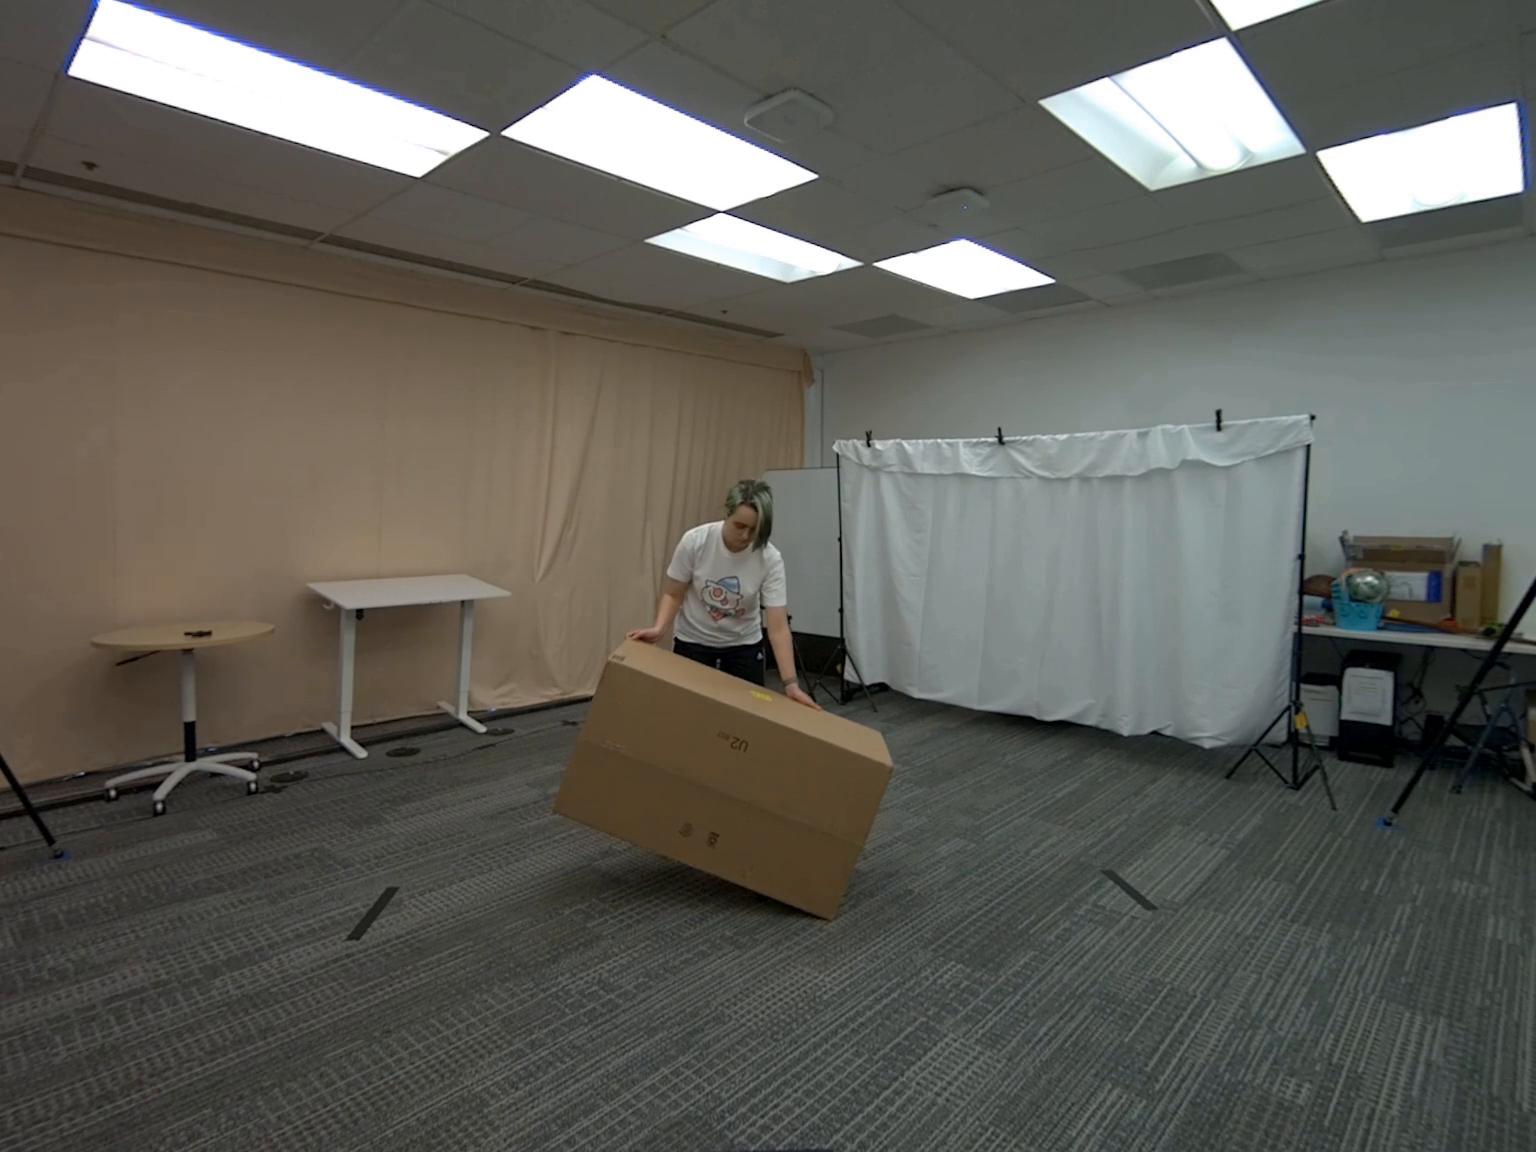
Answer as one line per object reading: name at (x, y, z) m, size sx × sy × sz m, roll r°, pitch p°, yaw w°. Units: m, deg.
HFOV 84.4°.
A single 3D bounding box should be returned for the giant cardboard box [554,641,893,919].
giant cardboard box at (-0.154, 0.701, 3.030) m, size 1.029 × 0.577 × 0.426 m, roll 20°, pitch 6°, yaw 2°
